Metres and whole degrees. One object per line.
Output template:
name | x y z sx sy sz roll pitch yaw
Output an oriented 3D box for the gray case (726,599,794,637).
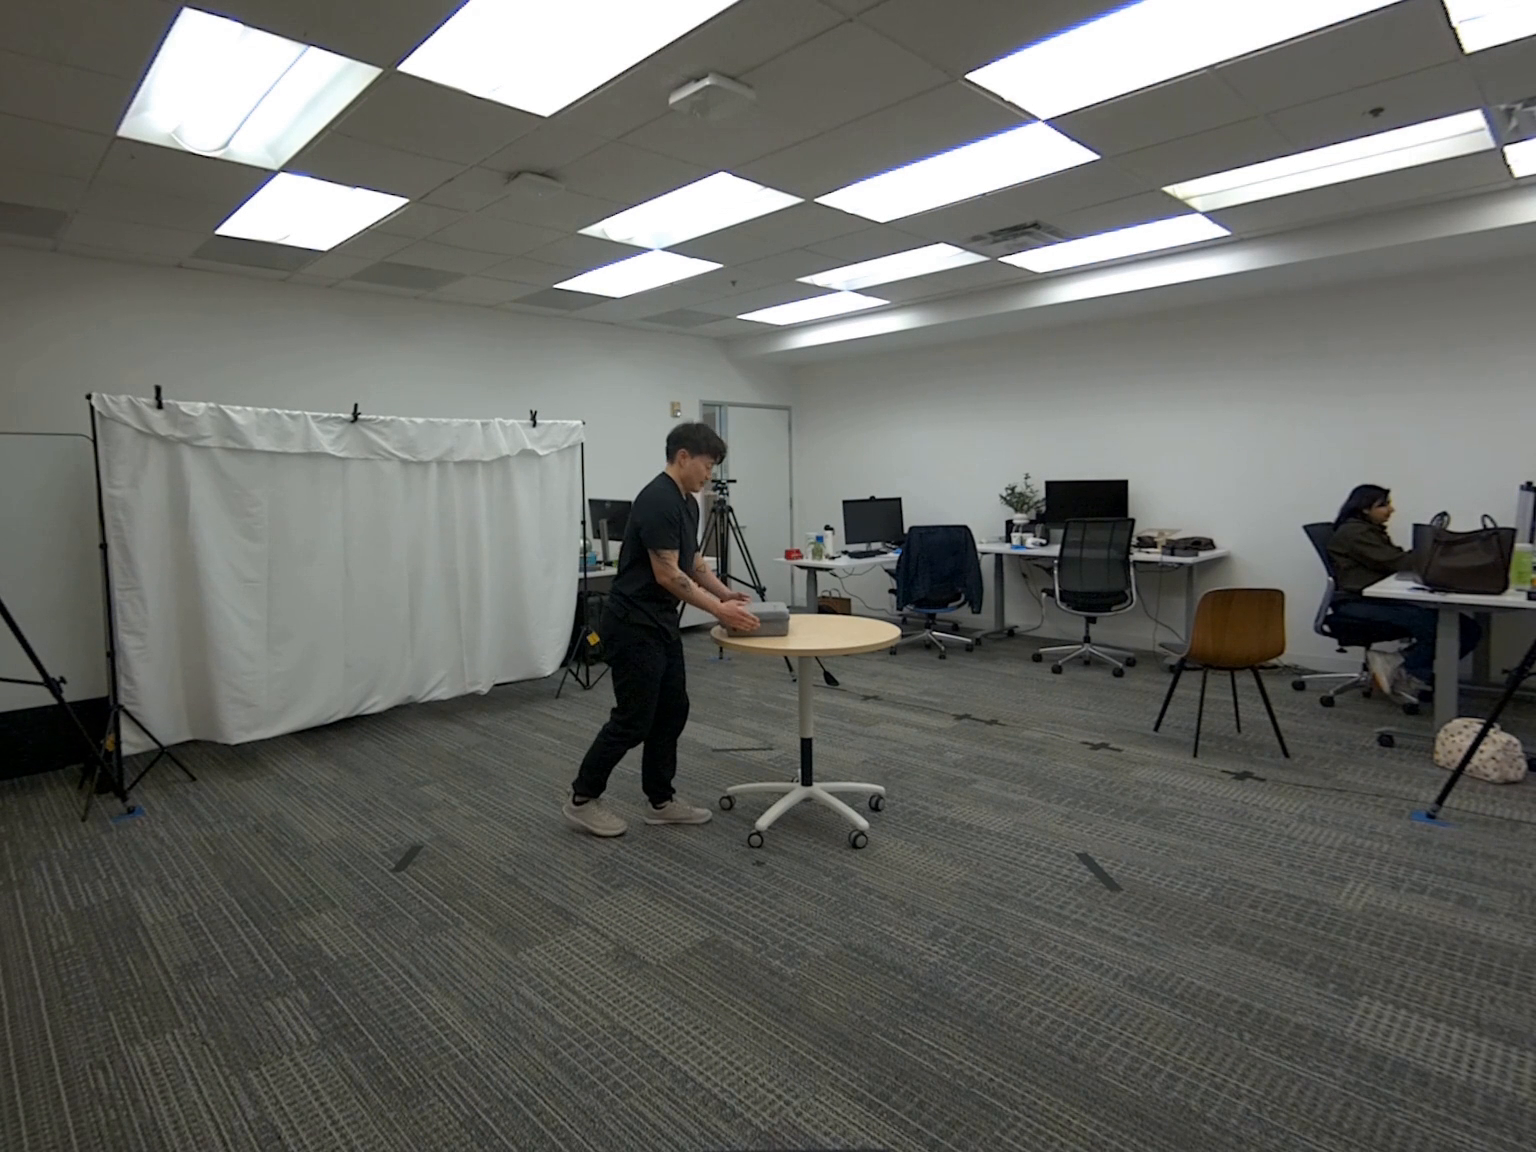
gray case | -0.037 0.164 3.436 0.261 0.104 0.257 -2 5 1
